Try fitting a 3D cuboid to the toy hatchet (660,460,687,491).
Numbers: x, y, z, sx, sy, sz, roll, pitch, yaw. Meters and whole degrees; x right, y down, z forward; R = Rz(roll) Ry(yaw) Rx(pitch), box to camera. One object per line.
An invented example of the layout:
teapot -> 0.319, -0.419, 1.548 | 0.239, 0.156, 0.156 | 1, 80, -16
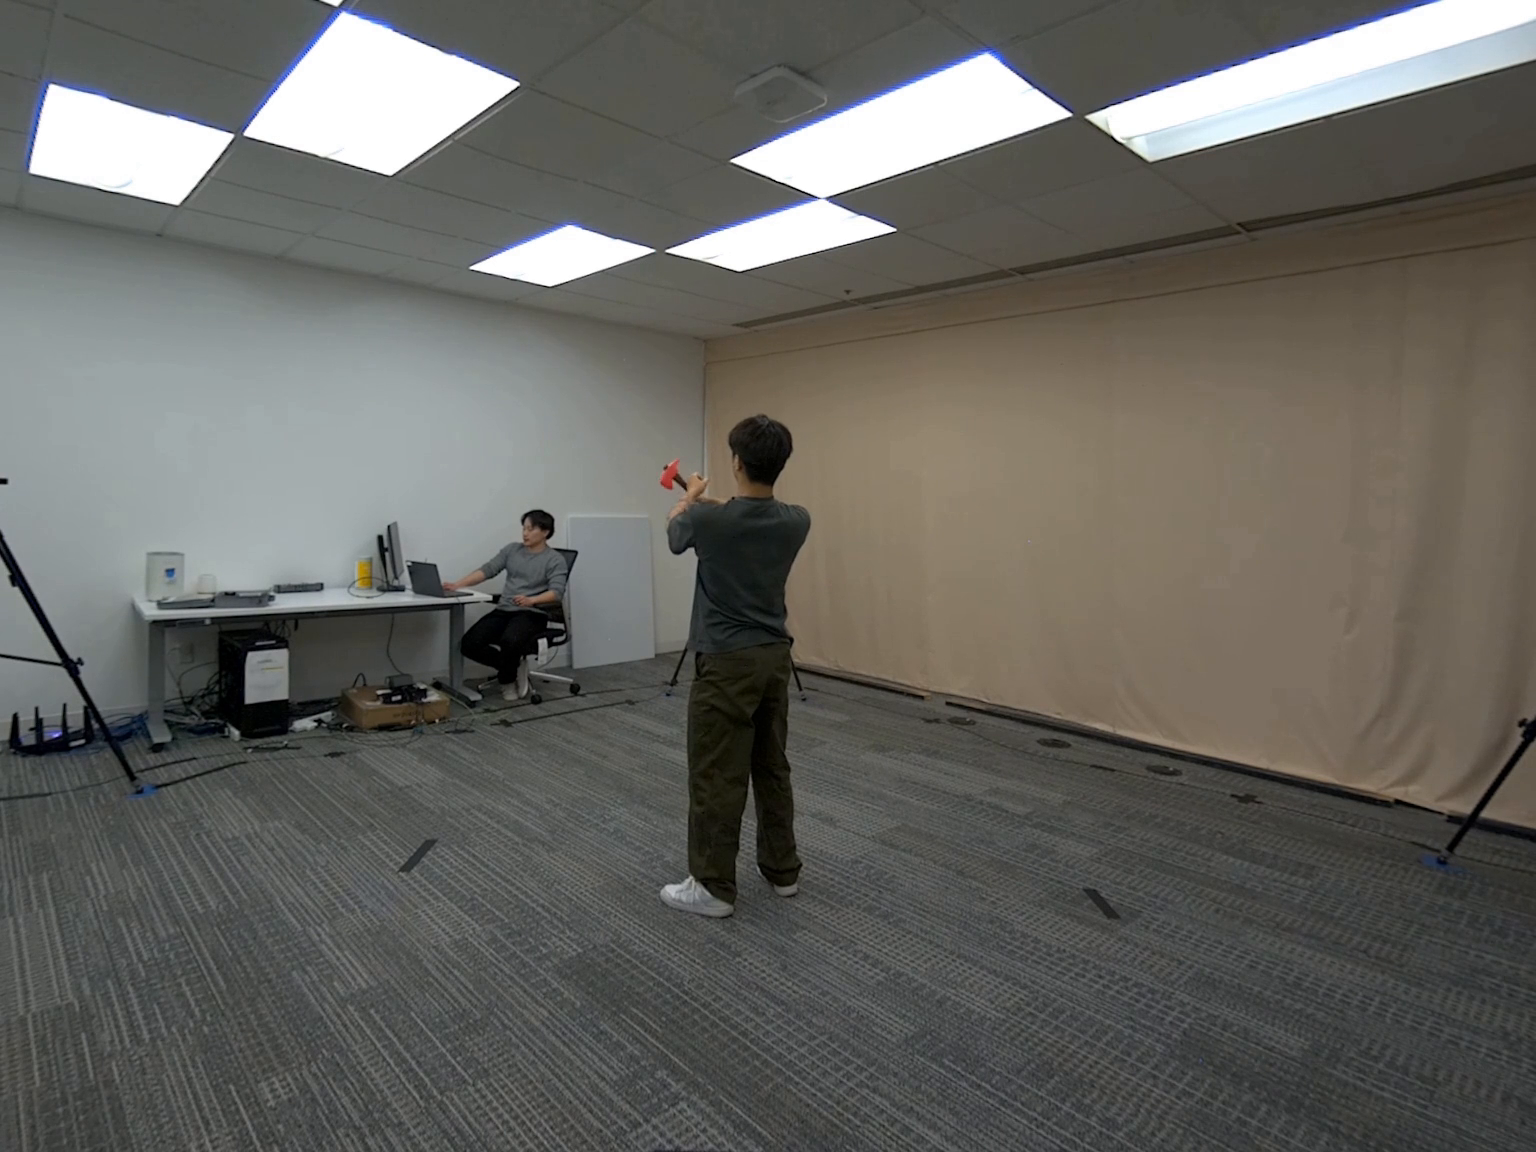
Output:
toy hatchet -> -0.345, -0.319, 3.314 | 0.130, 0.265, 0.030 | -38, 21, -35
